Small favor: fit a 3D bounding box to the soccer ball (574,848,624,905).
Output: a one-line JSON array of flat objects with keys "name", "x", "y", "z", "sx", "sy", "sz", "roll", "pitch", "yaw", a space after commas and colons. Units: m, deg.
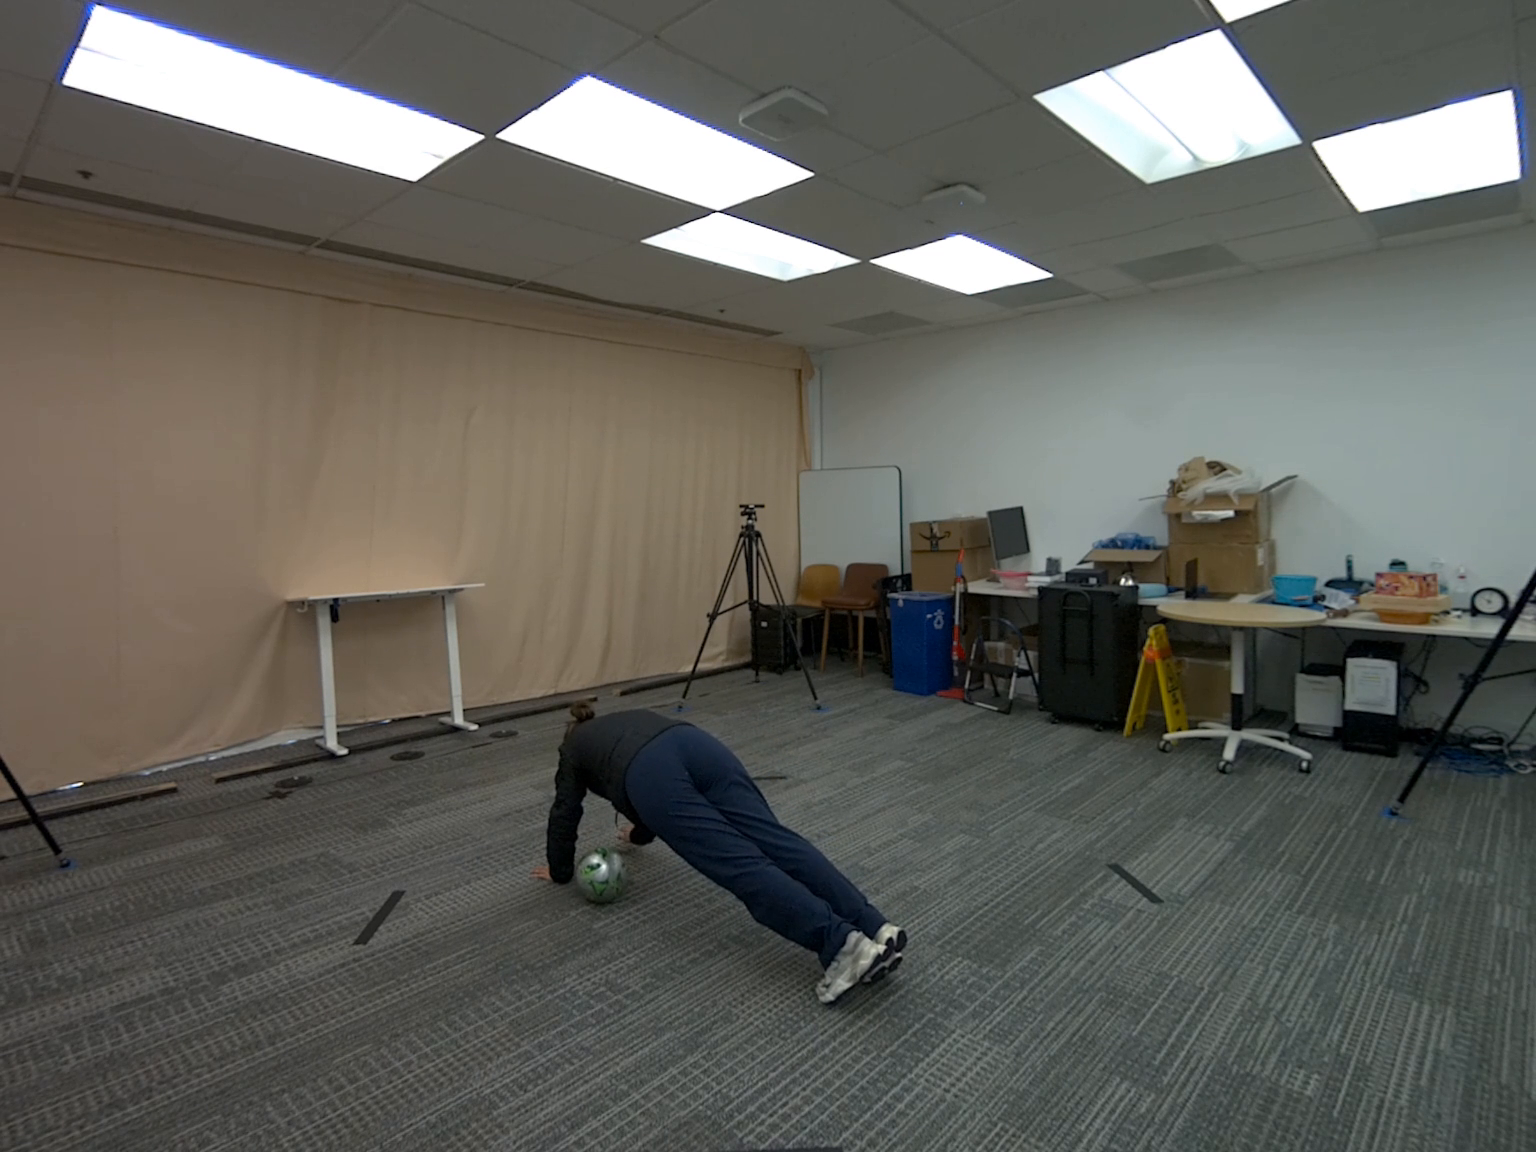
[{"name": "soccer ball", "x": -0.588, "y": 1.060, "z": 2.985, "sx": 0.187, "sy": 0.187, "sz": 0.188, "roll": -1, "pitch": 4, "yaw": -2}]
